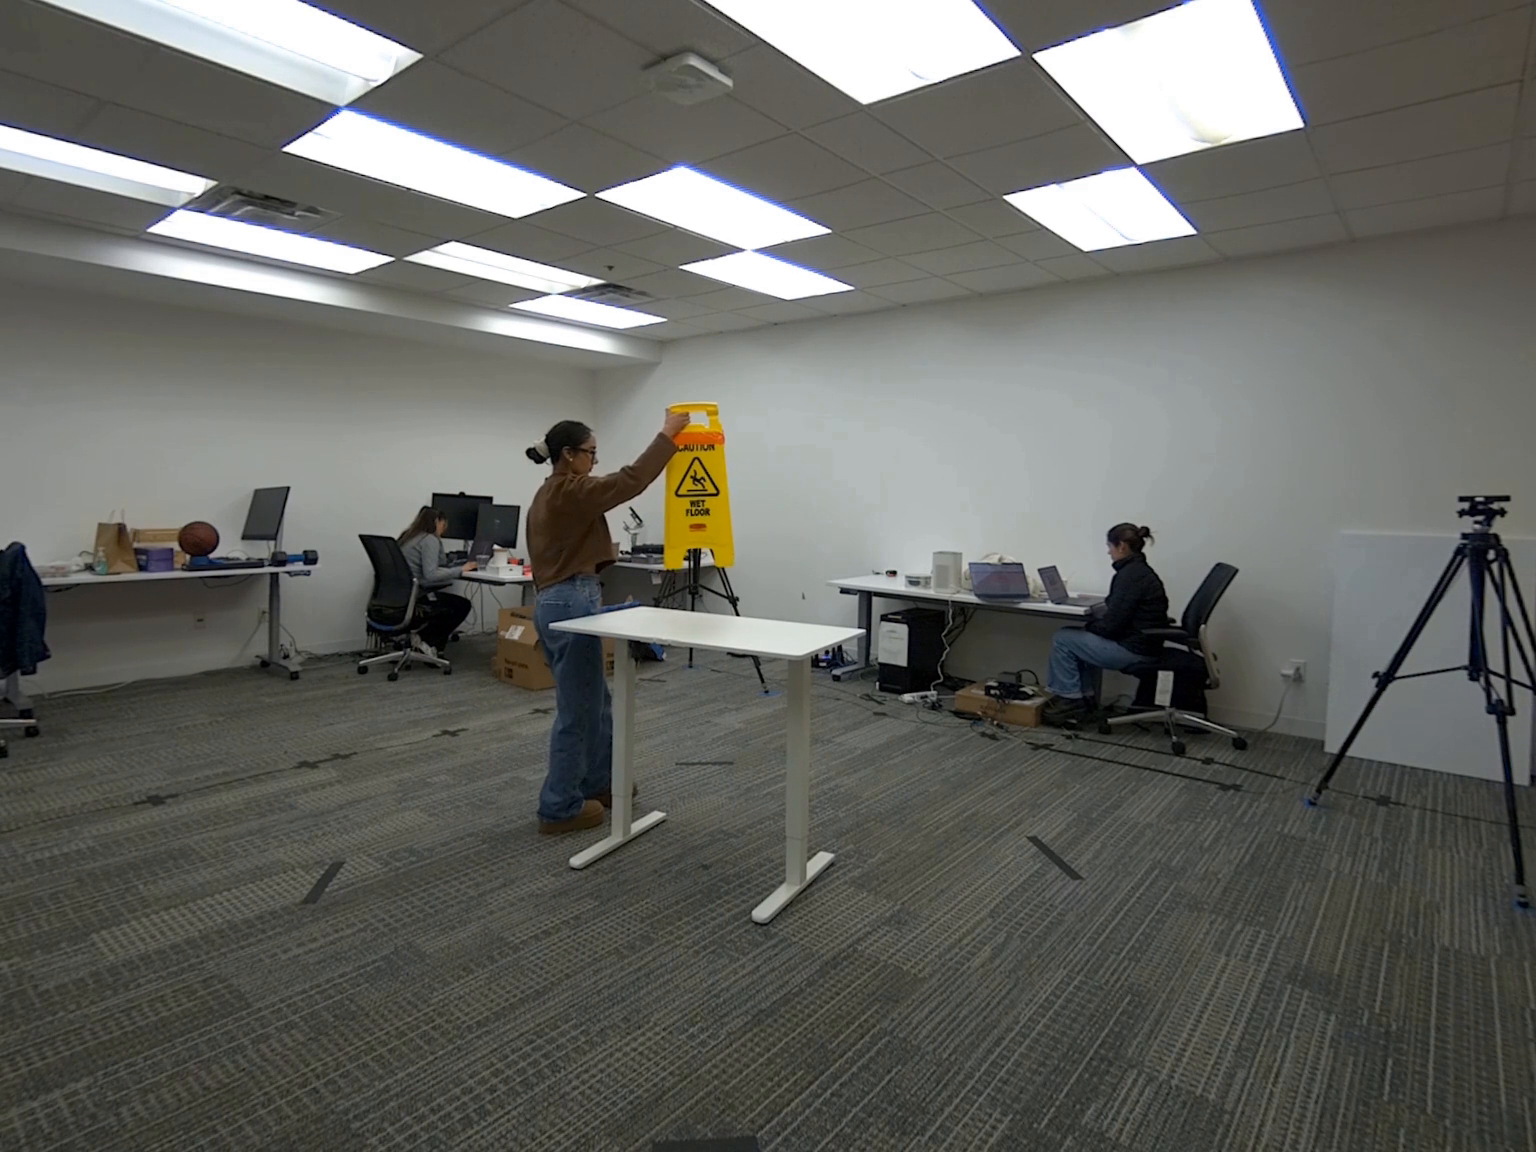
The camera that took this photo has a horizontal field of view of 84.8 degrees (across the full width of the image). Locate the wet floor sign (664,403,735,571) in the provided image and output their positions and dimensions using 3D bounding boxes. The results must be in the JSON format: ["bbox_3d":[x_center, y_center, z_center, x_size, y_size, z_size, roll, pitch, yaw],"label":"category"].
[{"bbox_3d":[-0.310,-0.380,3.461,0.282,0.640,0.292,-2,10,-1],"label":"wet floor sign"}]
